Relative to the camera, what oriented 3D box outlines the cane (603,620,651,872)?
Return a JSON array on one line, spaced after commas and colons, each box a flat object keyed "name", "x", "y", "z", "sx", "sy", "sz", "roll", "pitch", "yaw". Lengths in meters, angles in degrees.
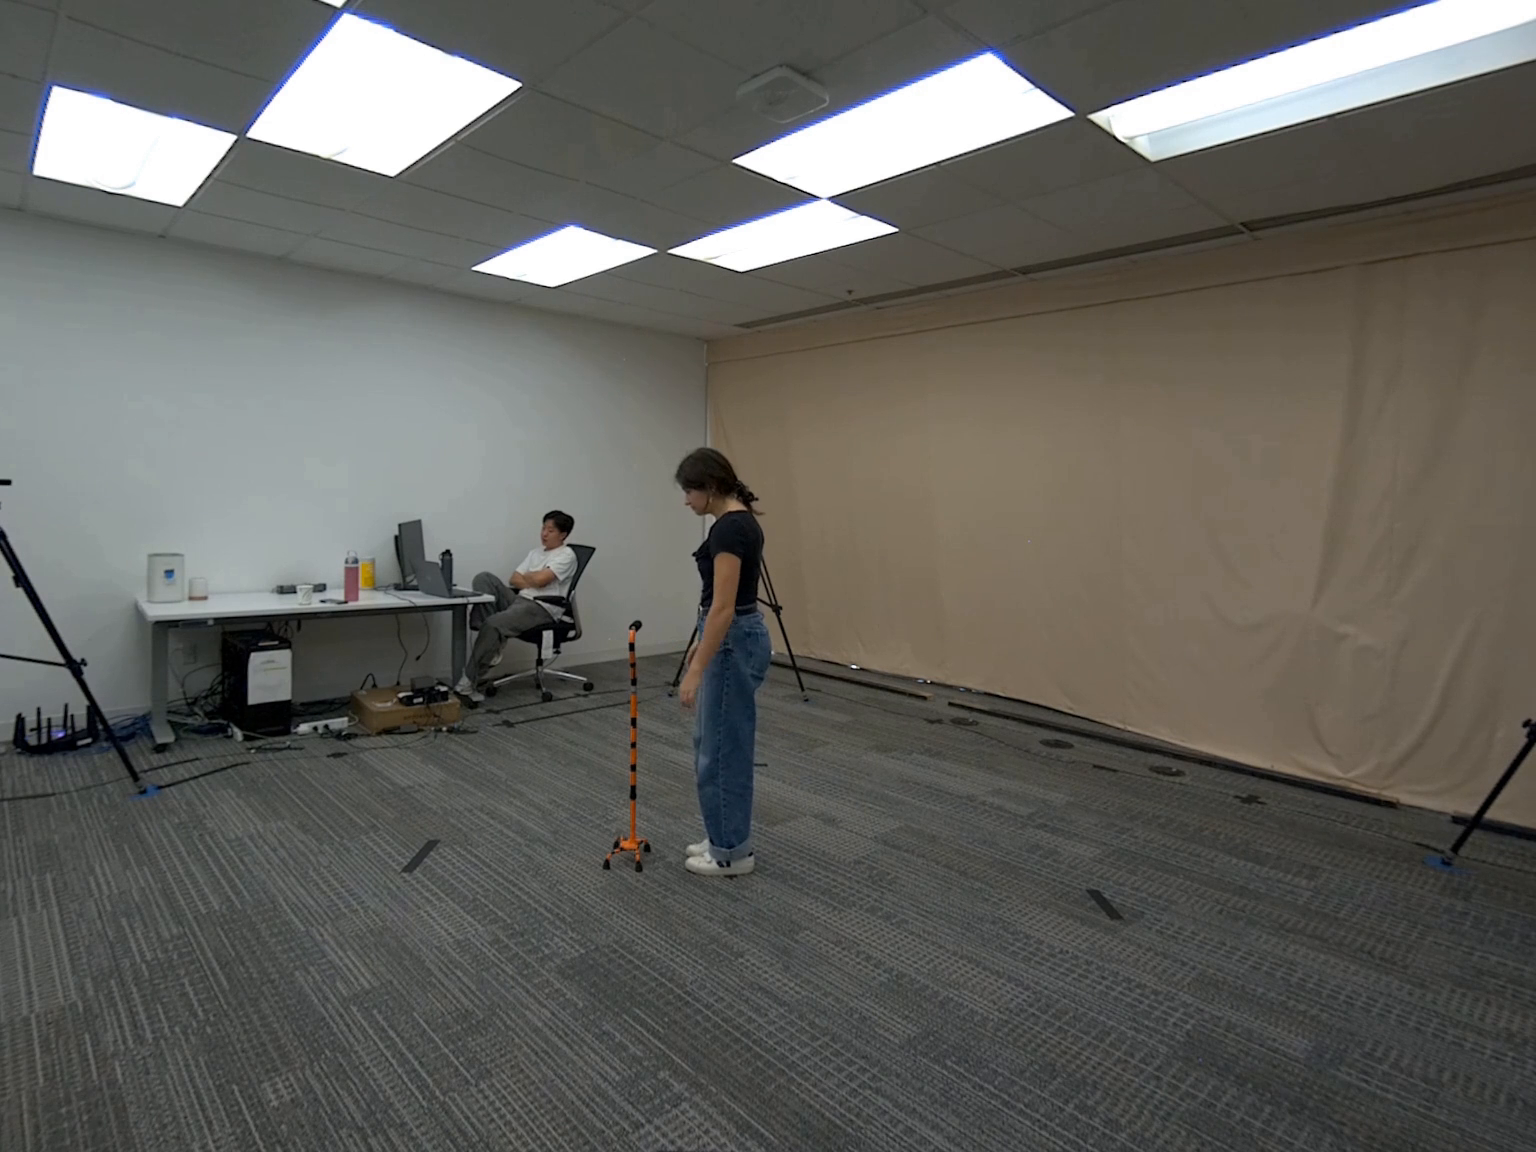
[{"name": "cane", "x": -0.529, "y": 0.633, "z": 3.203, "sx": 0.152, "sy": 0.906, "sz": 0.206, "roll": 1, "pitch": 3, "yaw": 1}]
